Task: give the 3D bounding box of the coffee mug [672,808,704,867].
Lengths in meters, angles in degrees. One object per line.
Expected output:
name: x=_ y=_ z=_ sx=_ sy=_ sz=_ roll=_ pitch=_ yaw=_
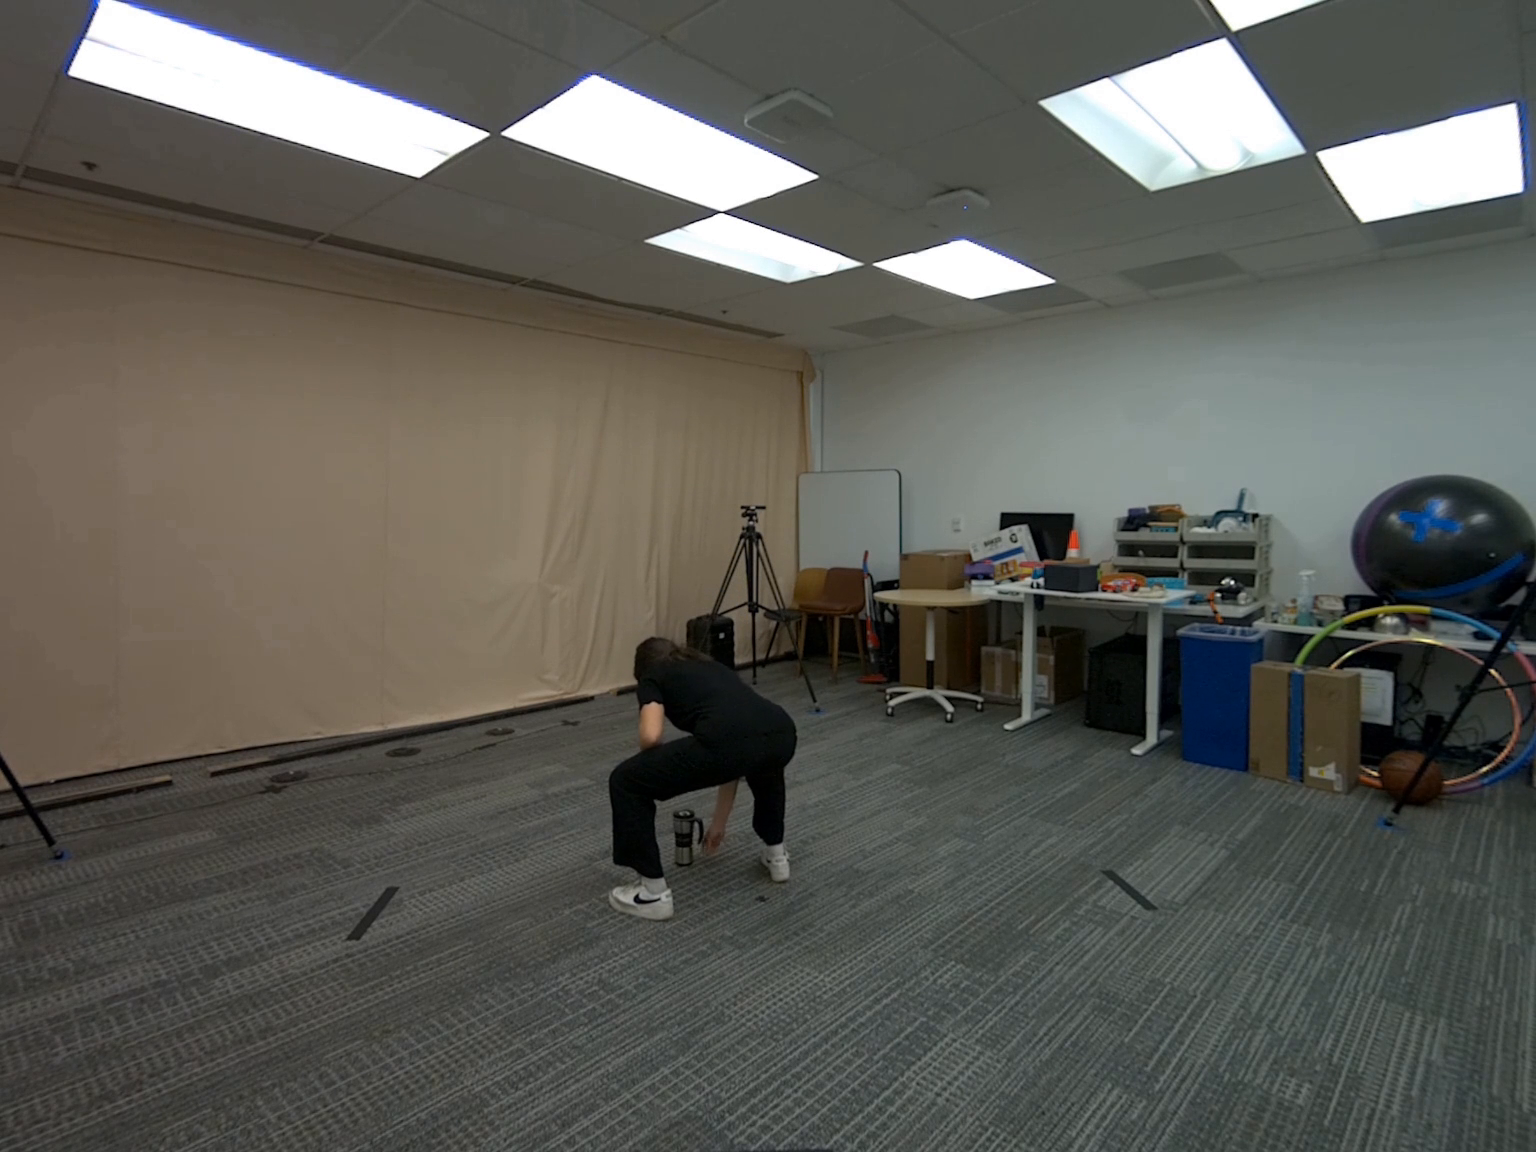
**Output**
coffee mug: x=-0.313 y=1.028 z=3.267 sx=0.126 sy=0.203 sz=0.085 roll=-1 pitch=0 yaw=43
